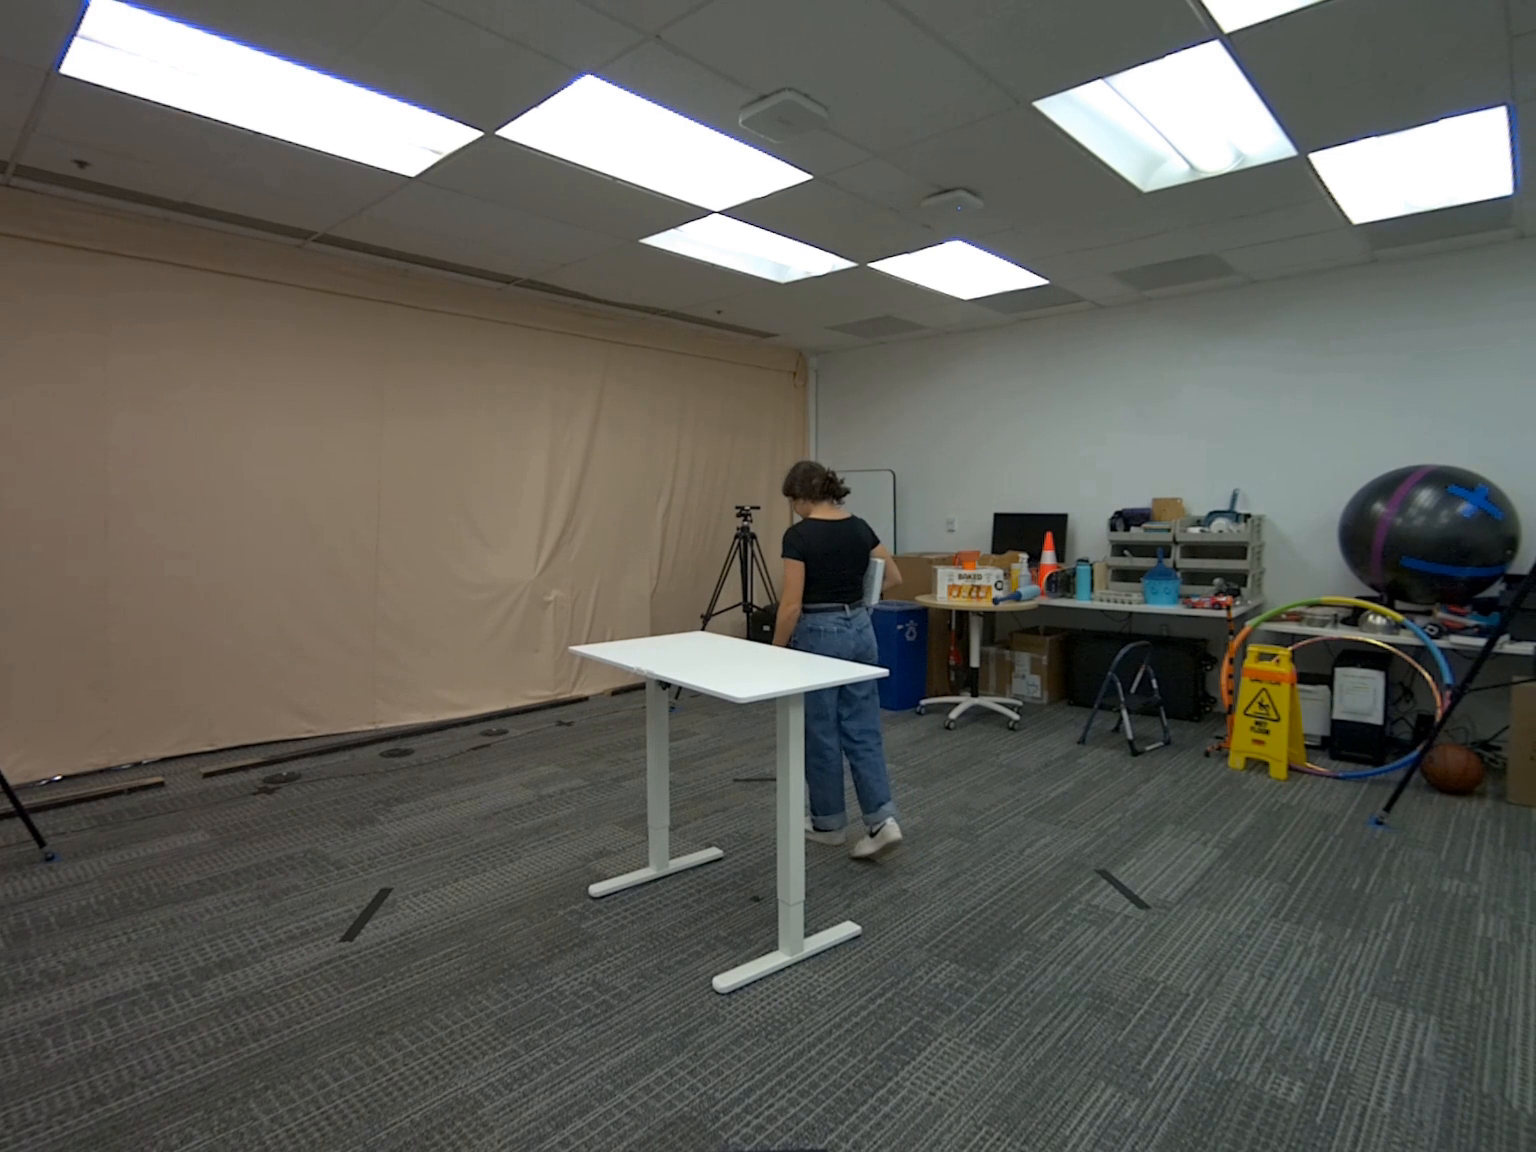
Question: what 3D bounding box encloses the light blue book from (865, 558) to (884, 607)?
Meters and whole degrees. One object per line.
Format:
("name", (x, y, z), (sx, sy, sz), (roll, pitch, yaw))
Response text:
("light blue book", (0.355, -0.011, 3.512), (0.270, 0.190, 0.057), (20, 21, 39))
